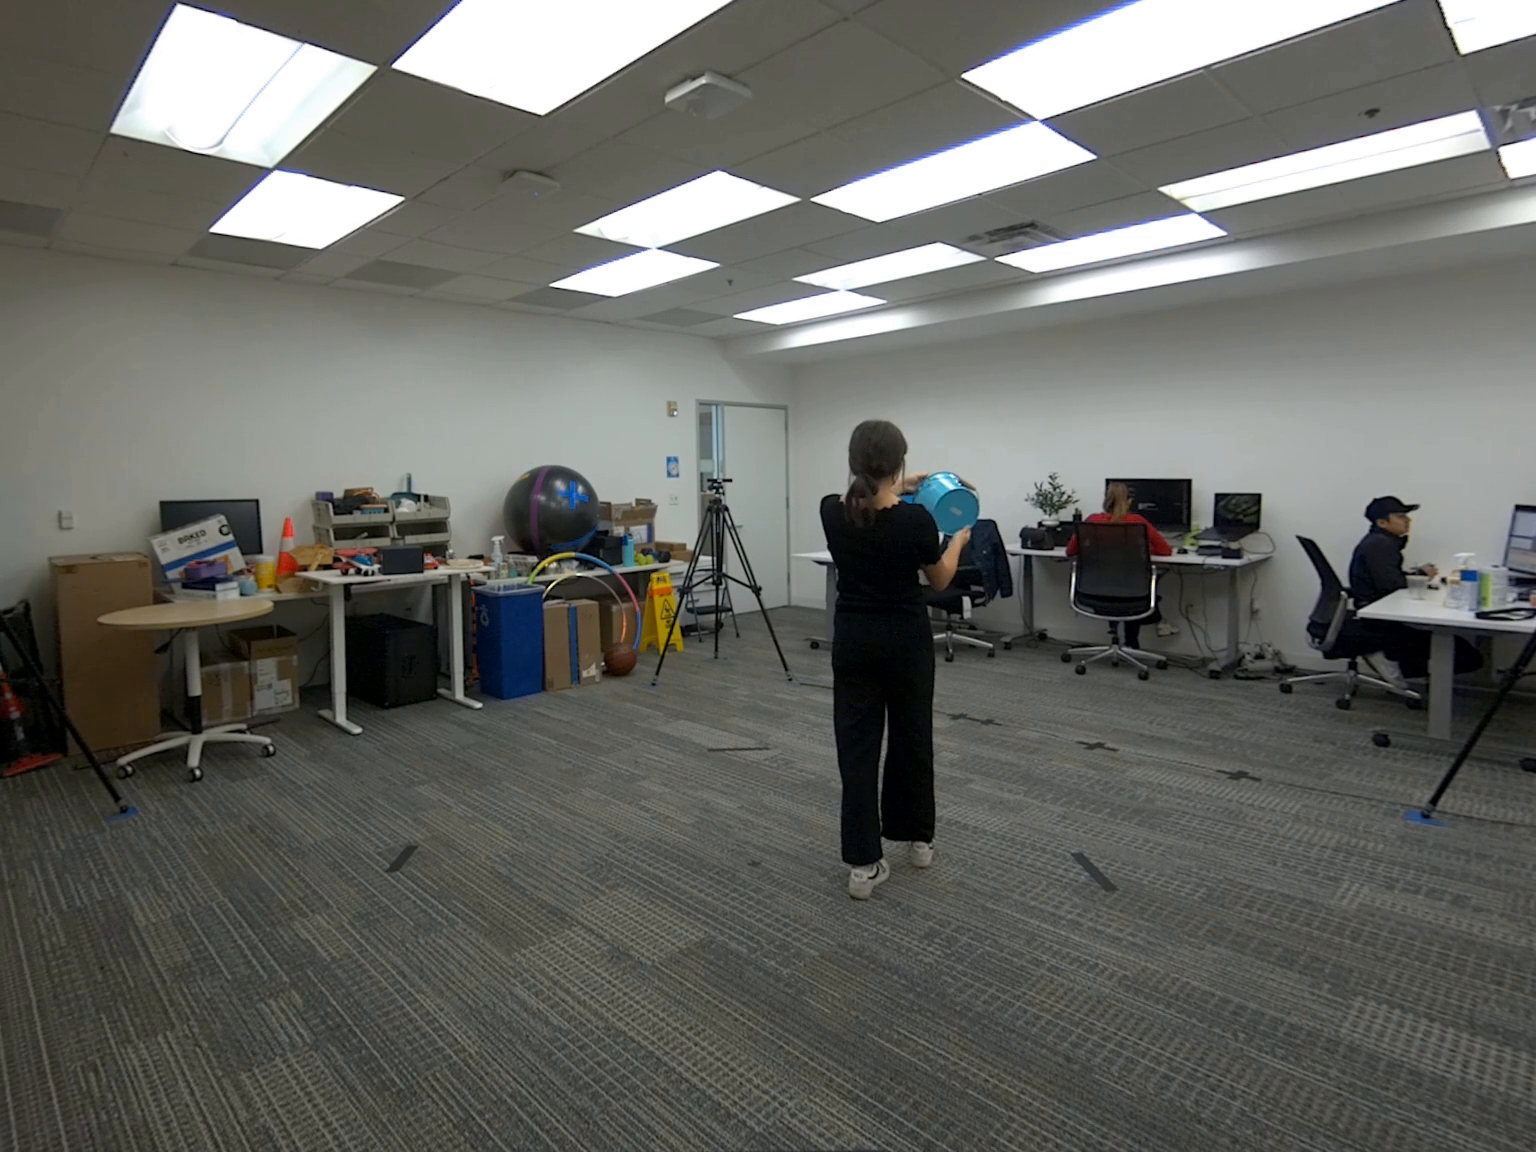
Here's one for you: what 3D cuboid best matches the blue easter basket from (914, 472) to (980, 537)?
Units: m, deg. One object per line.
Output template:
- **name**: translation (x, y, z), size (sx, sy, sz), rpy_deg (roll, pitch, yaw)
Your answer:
- **blue easter basket**: translation (0.672, -0.267, 3.224), size (0.241, 0.240, 0.160), rpy_deg (-2, 17, -12)
